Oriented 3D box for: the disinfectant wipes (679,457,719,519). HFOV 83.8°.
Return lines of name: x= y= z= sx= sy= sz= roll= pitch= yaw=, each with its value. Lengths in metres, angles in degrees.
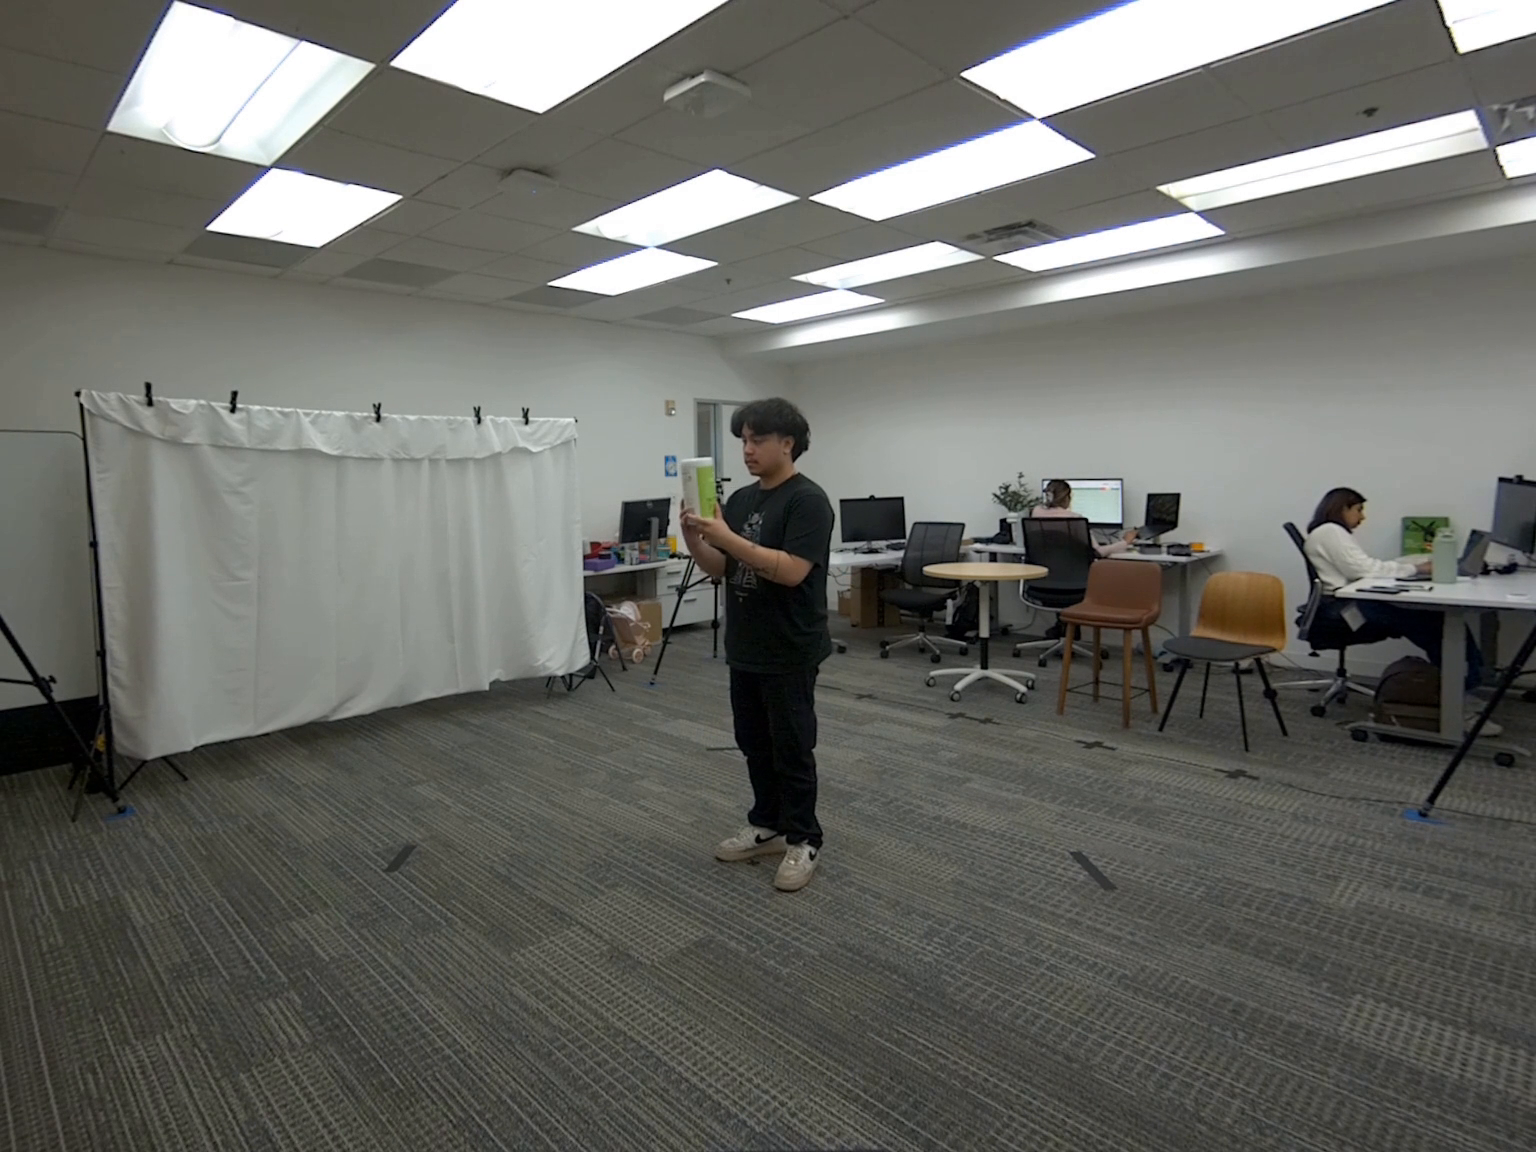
disinfectant wipes: x=-0.233 y=-0.278 z=2.812 sx=0.118 sy=0.215 sz=0.119 roll=-3 pitch=12 yaw=-1
